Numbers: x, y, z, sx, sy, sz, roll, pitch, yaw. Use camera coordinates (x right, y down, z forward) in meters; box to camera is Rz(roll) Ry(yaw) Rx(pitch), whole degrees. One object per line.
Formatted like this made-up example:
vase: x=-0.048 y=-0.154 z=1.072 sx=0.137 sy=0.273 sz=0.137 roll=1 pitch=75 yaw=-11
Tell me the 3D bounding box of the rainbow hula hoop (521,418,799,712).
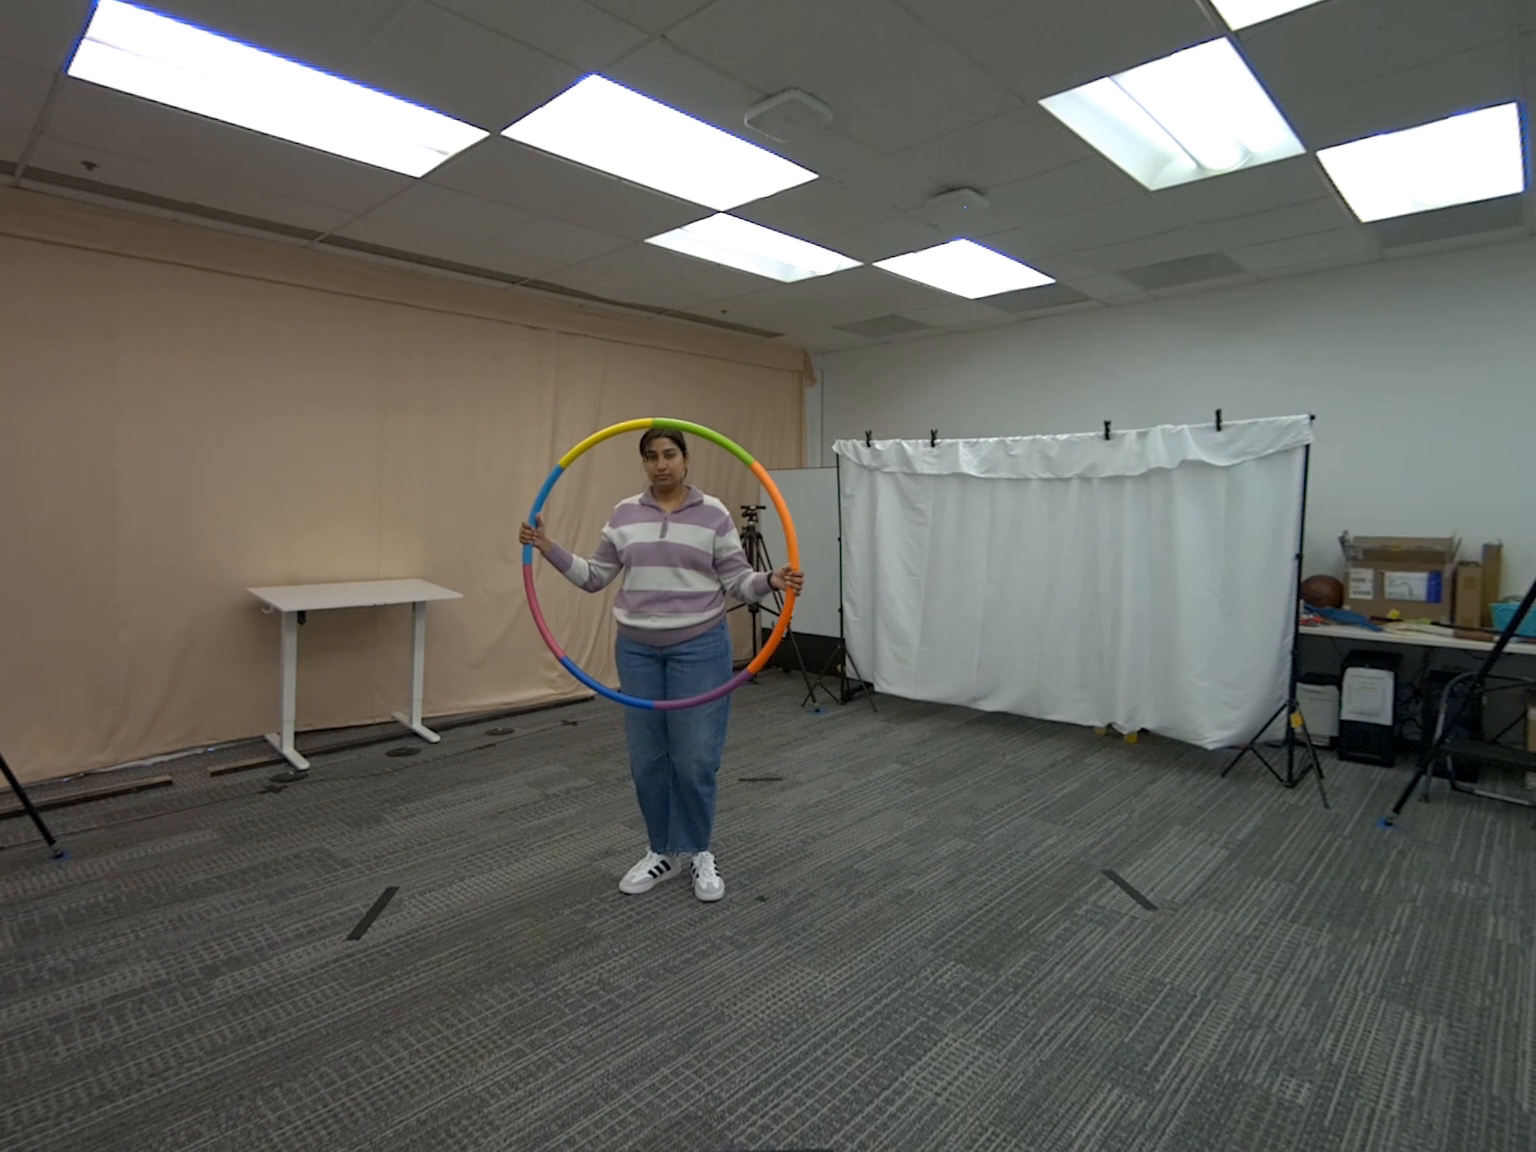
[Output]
rainbow hula hoop: x=-0.376 y=-0.039 z=2.846 sx=0.993 sy=0.977 sz=0.035 roll=1 pitch=2 yaw=14
